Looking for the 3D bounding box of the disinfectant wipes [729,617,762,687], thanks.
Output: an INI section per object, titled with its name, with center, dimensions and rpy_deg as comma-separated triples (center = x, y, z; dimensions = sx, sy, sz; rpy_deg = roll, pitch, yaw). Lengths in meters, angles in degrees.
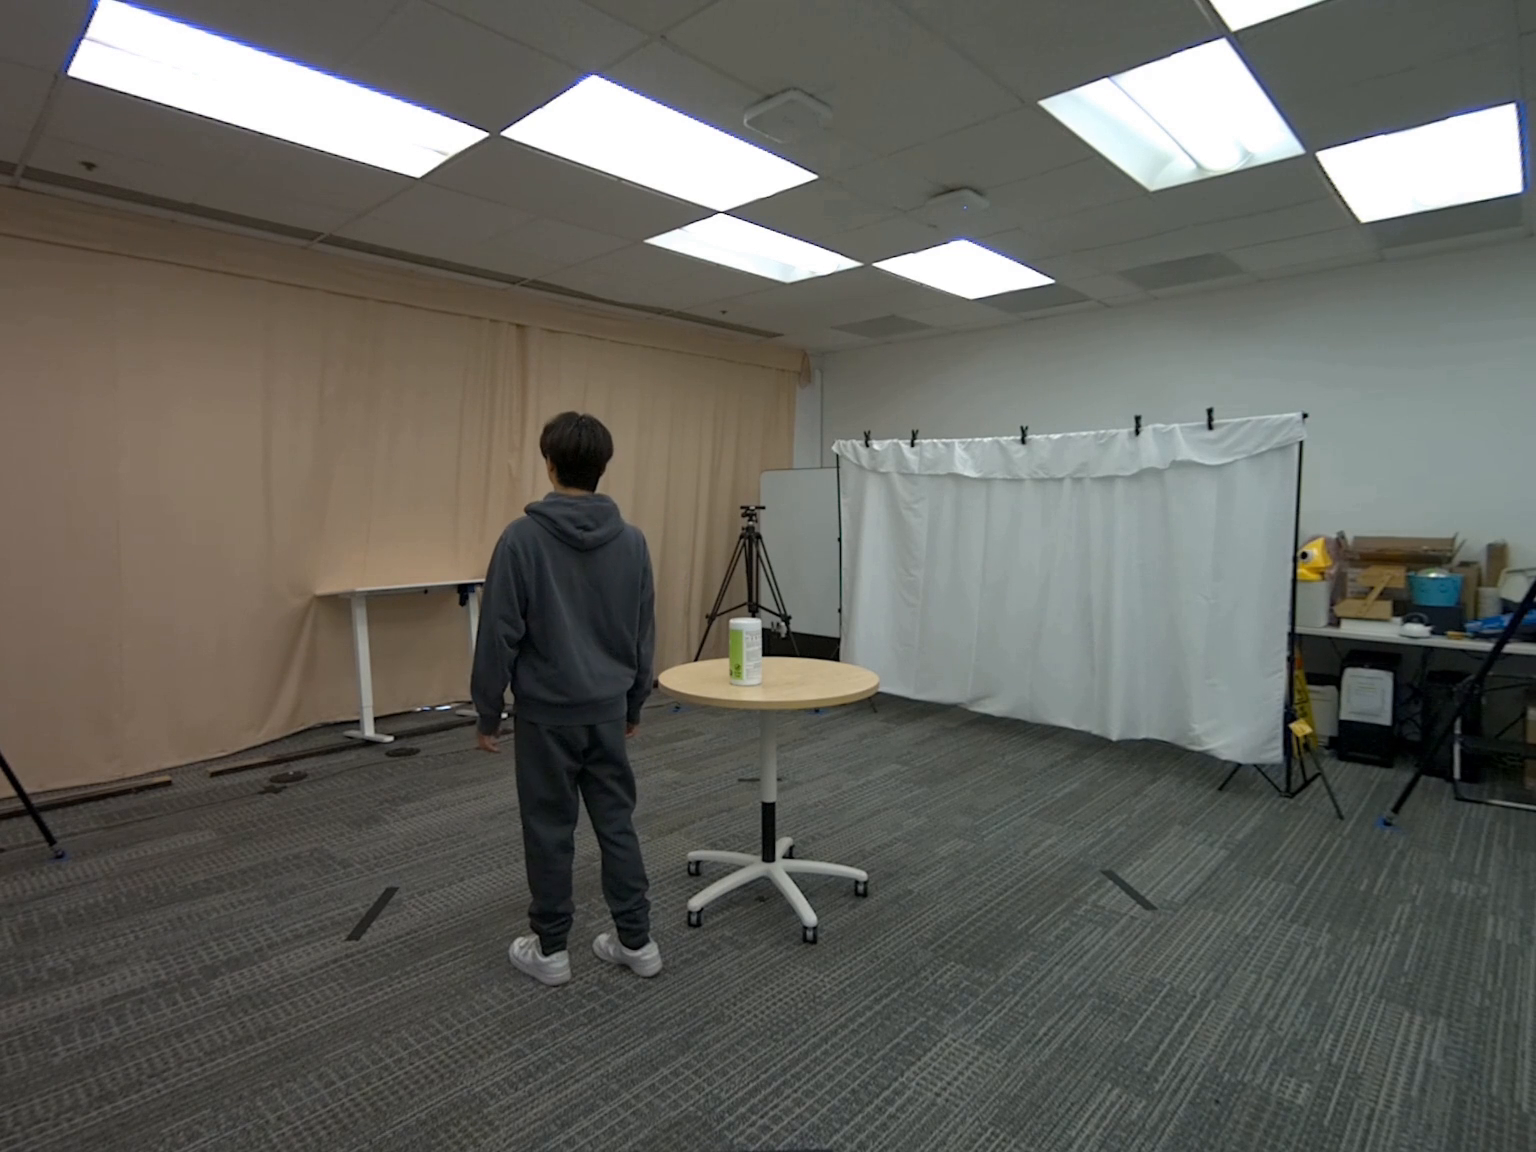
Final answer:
[disinfectant wipes]
center = -0.064, 0.255, 2.825
dimensions = 0.118, 0.217, 0.118
rpy_deg = 0, 4, -2
